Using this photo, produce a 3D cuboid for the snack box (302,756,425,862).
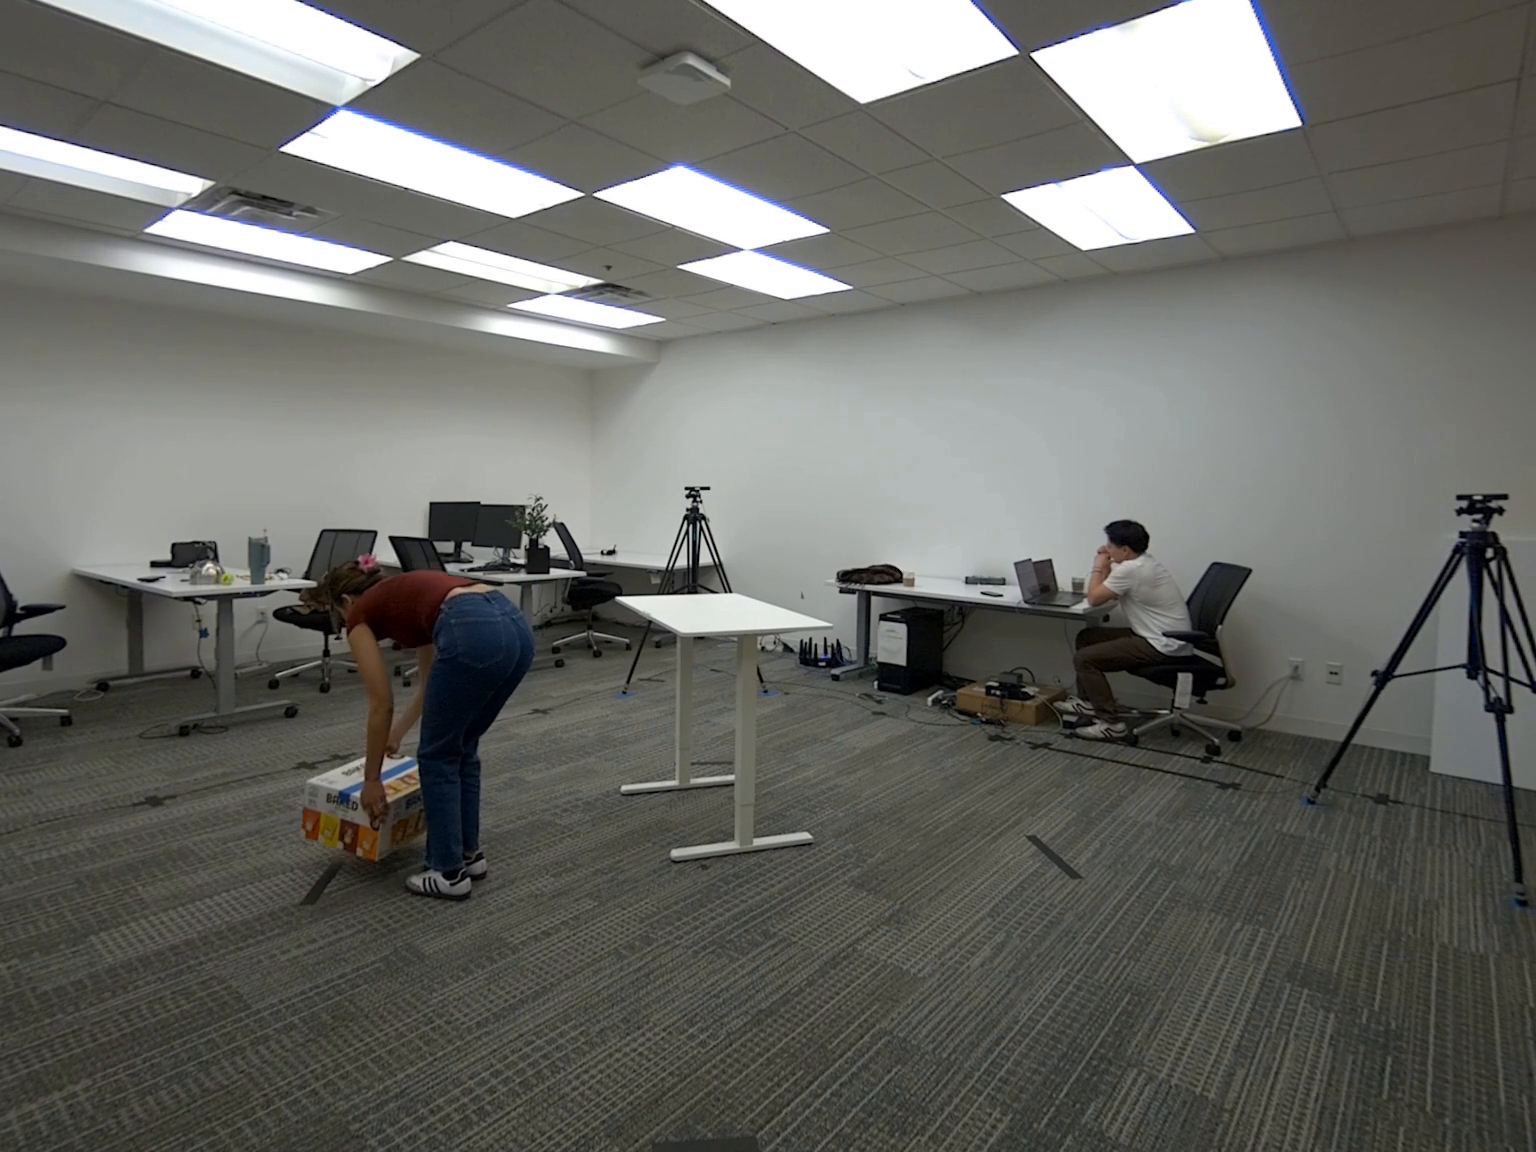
[{"bbox_3d":[-1.456,0.825,3.151,0.347,0.205,0.399,10,7,16],"label":"snack box"}]
